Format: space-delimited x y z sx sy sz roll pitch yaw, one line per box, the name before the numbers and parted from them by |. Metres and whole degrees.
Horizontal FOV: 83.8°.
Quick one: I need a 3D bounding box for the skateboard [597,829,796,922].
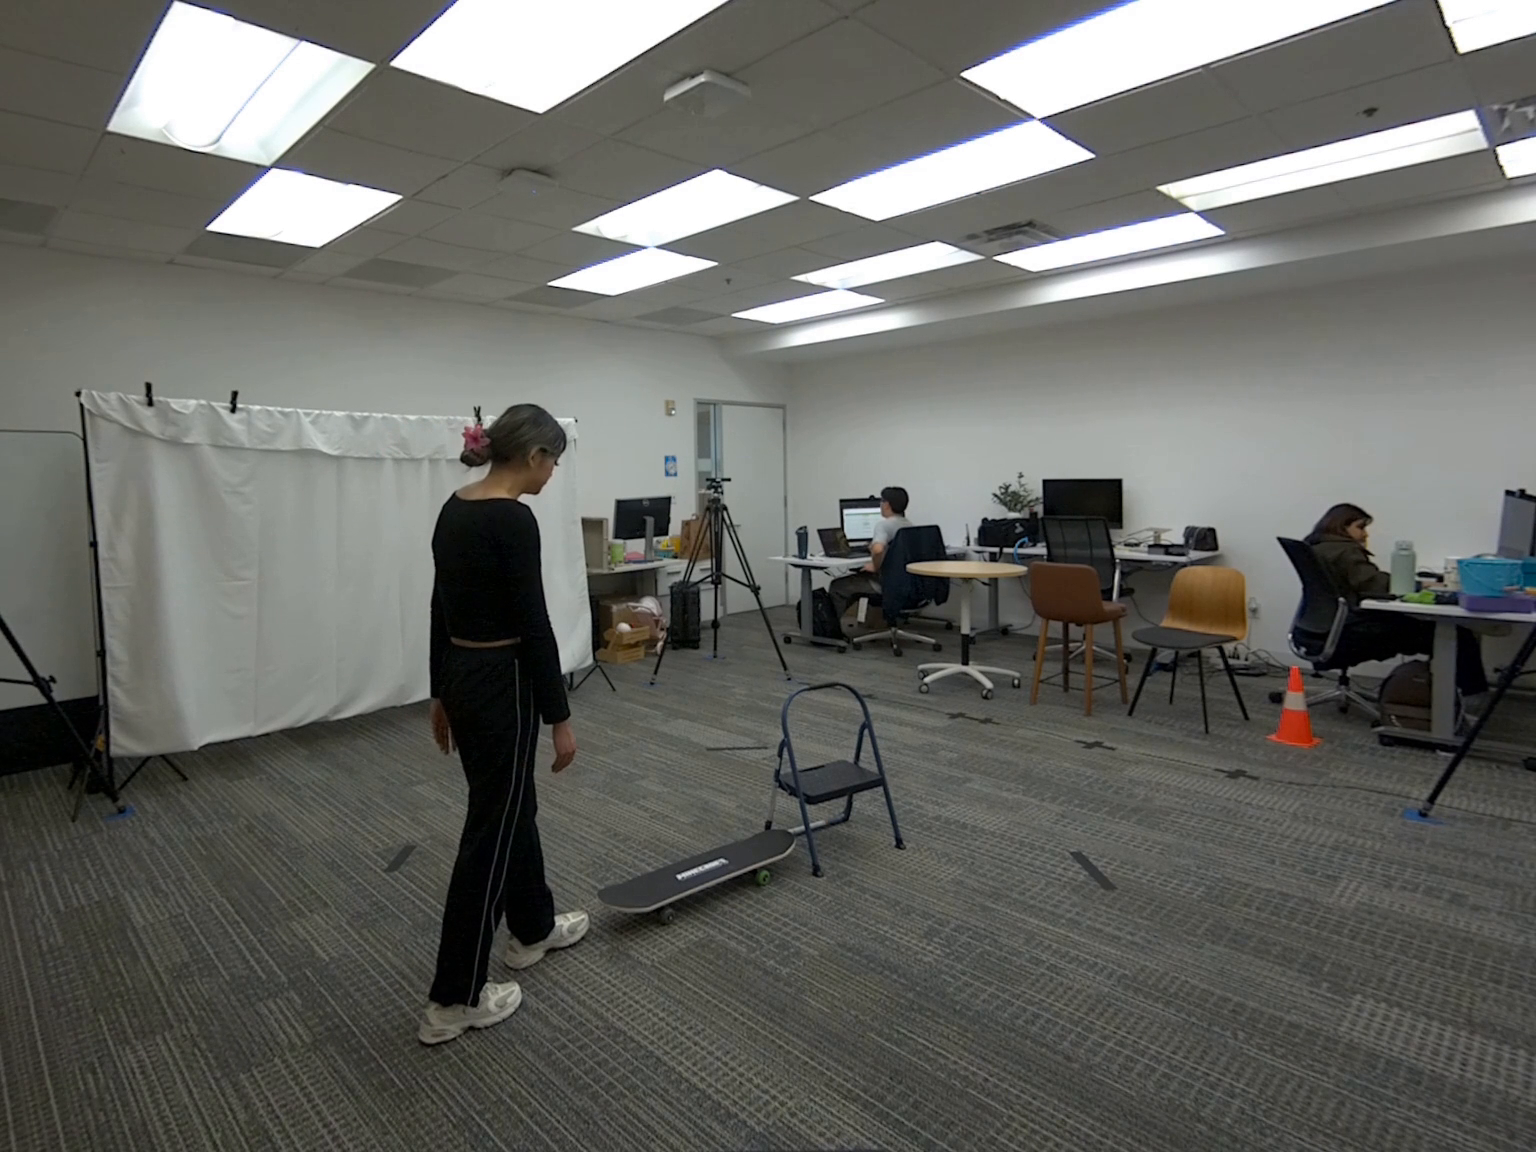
skateboard | -0.218 1.018 2.866 0.765 0.110 0.199 -6 7 -39
